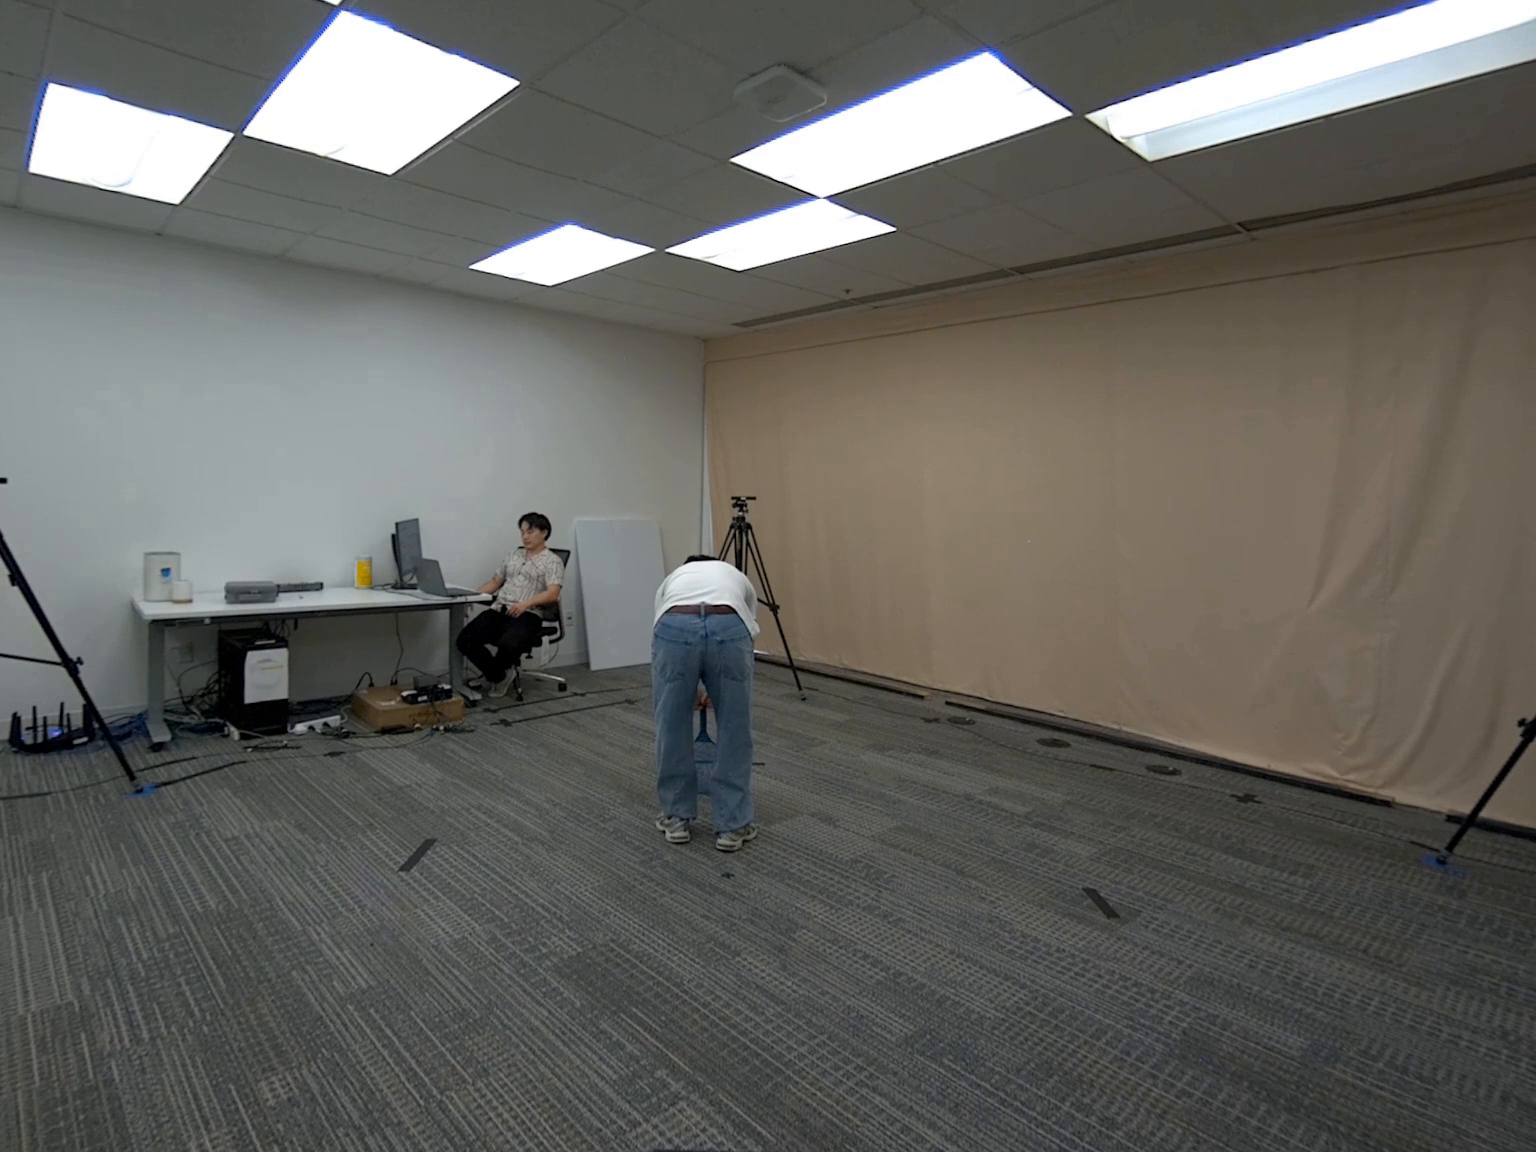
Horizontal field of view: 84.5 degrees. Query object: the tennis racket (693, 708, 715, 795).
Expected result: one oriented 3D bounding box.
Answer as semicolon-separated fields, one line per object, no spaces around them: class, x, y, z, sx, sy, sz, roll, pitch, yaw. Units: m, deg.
tennis racket;-0.314;0.818;3.946;0.218;0.431;0.031;-1;5;27
